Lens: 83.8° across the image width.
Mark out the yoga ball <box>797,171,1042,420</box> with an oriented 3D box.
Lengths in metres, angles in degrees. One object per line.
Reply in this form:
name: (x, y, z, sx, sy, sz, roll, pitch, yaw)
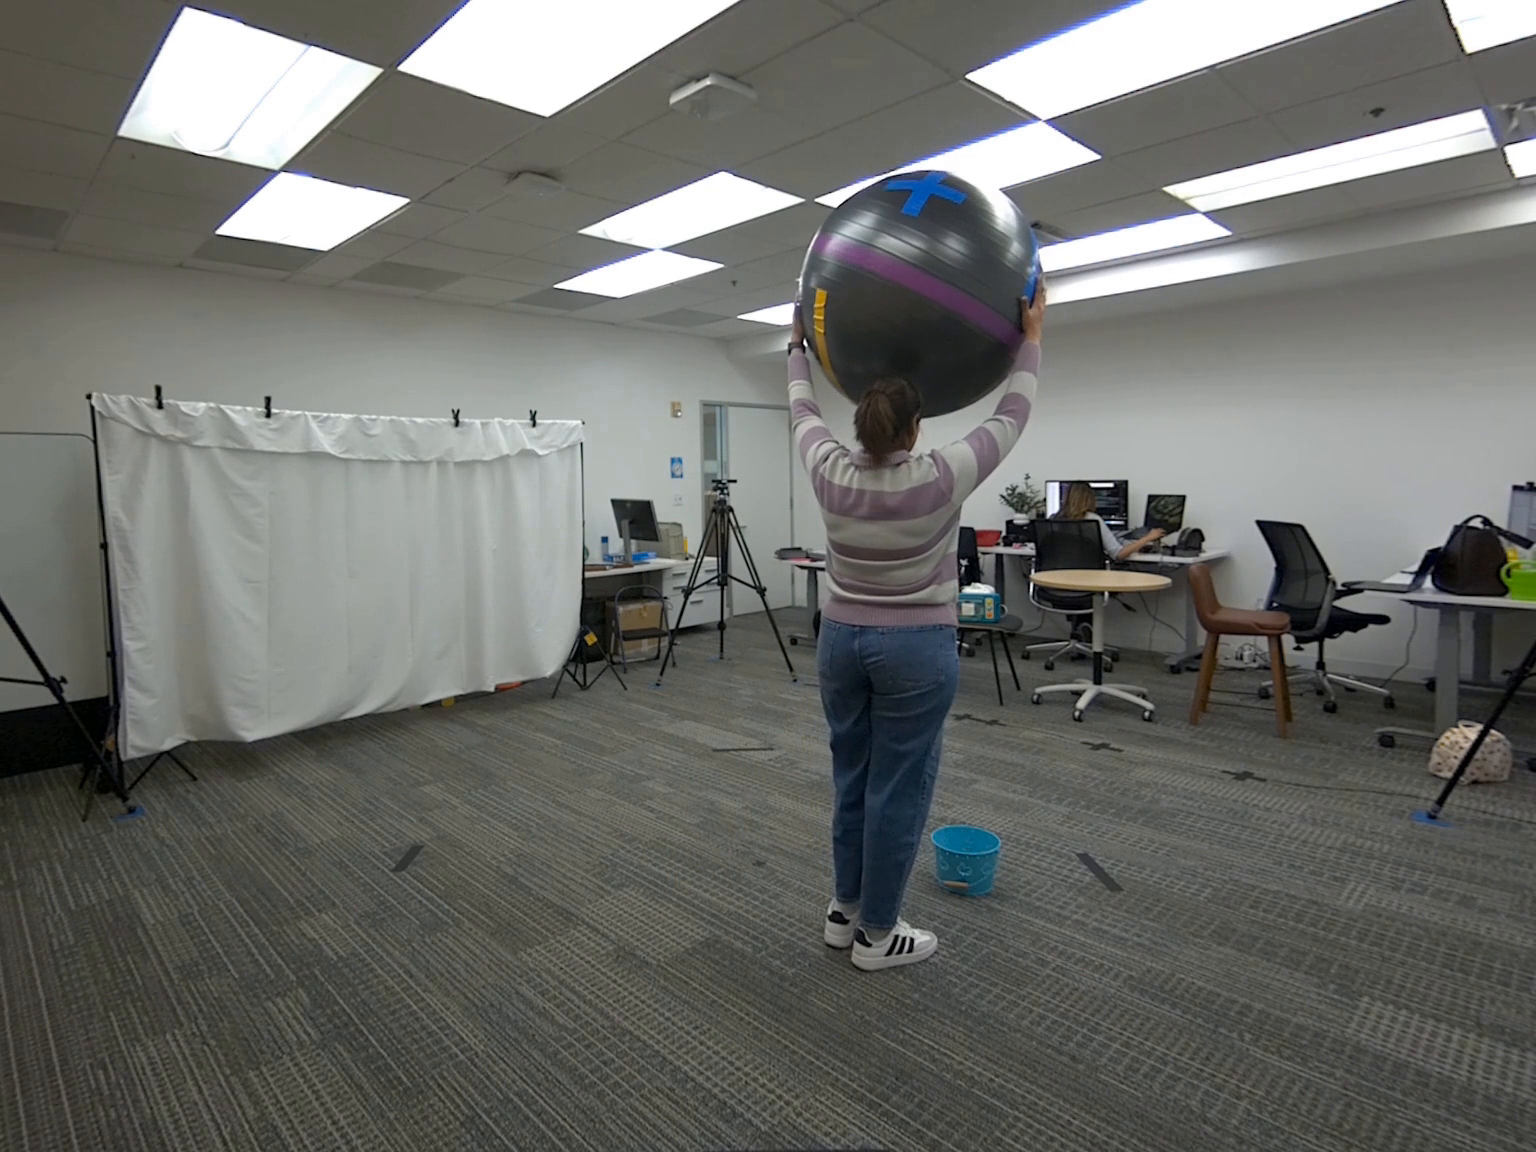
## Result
yoga ball: (0.479, -0.882, 2.709, 0.757, 0.755, 0.762, -1, 5, -2)
